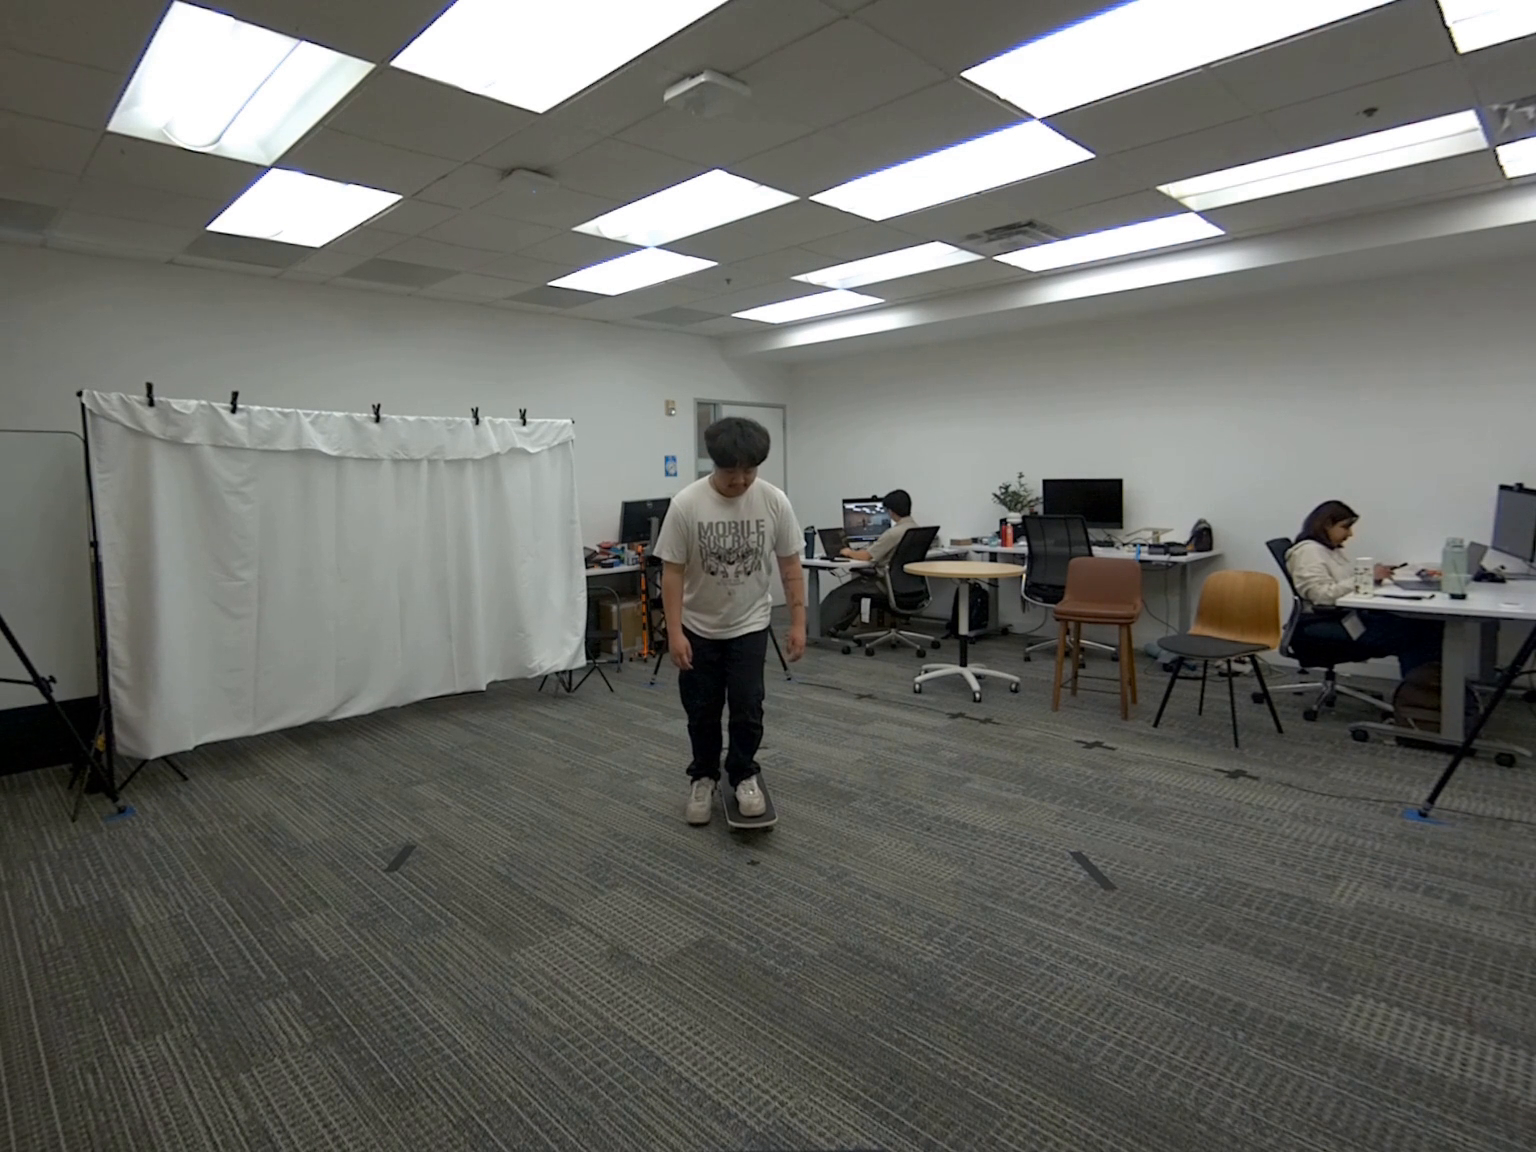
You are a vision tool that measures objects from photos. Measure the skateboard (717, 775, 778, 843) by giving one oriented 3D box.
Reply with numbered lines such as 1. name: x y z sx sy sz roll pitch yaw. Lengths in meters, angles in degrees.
1. skateboard: -0.096 0.929 3.581 0.192 0.110 0.794 -3 7 -7
